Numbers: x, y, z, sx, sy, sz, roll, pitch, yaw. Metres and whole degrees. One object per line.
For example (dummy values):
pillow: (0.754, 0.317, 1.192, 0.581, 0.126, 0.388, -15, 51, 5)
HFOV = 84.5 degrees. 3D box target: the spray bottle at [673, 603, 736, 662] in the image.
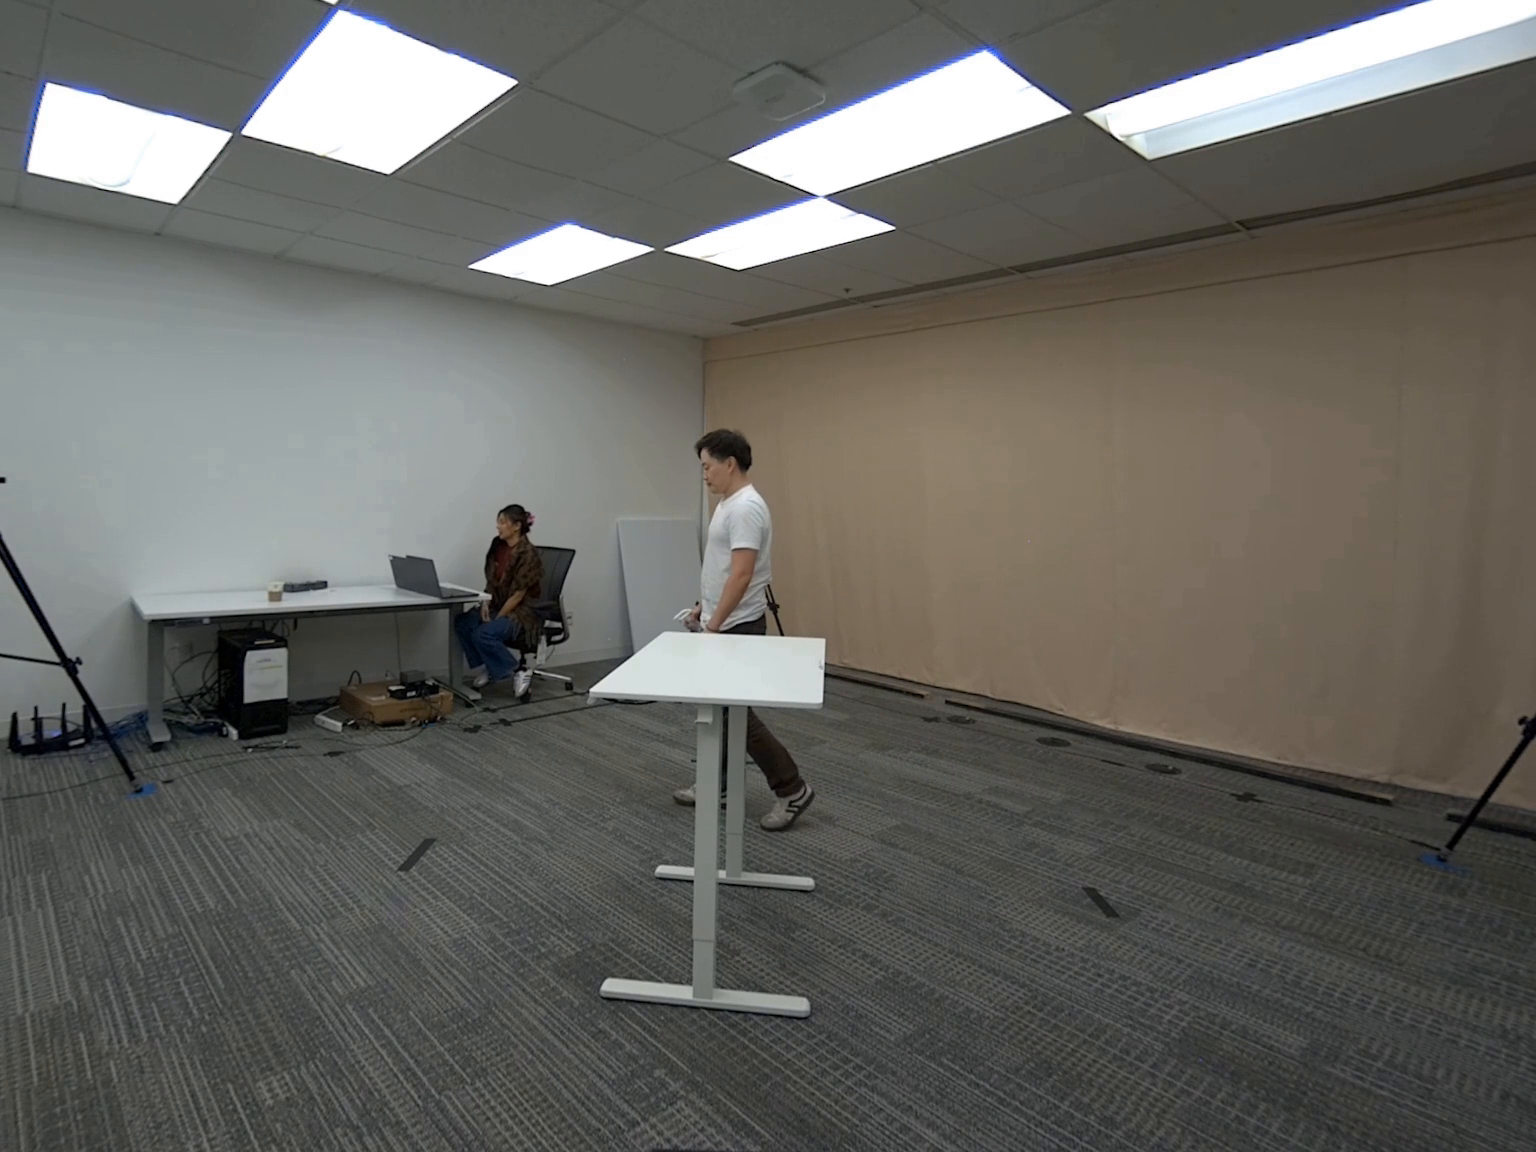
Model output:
spray bottle: (-0.298, 0.263, 3.953, 0.091, 0.291, 0.088, -32, 26, 34)
